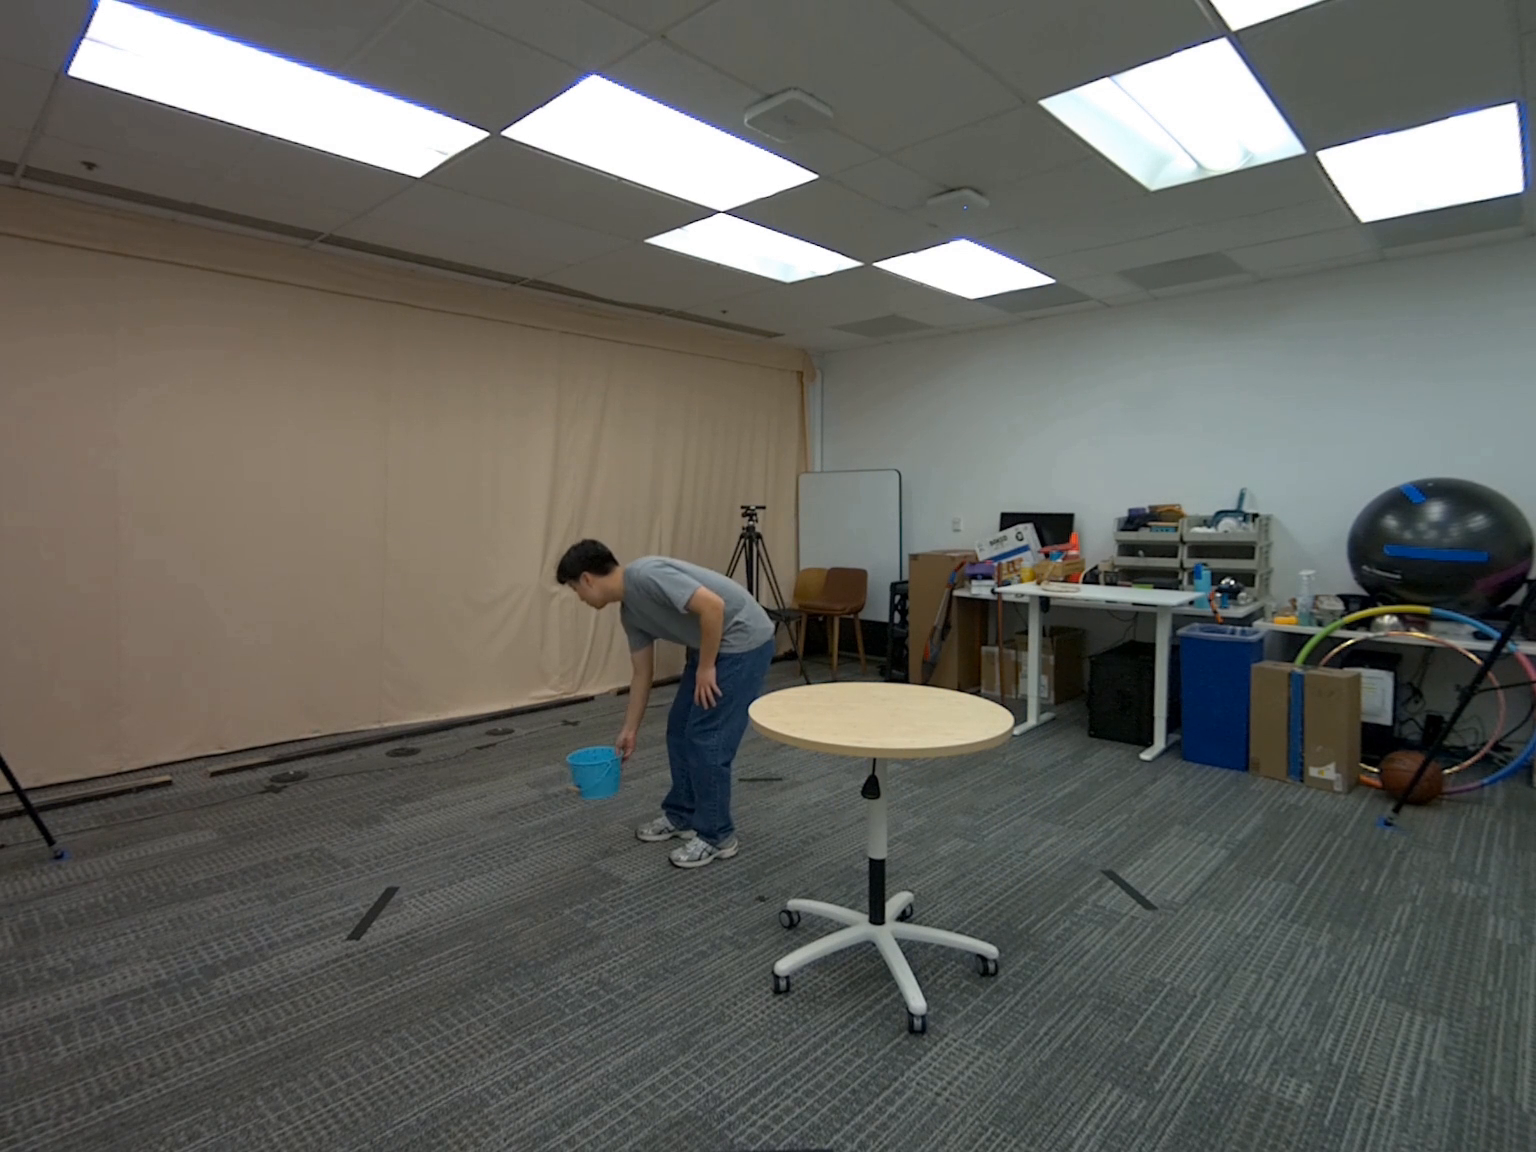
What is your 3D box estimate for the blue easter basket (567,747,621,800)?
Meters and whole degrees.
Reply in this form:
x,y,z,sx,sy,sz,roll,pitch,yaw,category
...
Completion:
x,y,z,sx,sy,sz,roll,pitch,yaw,category
-0.706,0.810,3.478,0.243,0.155,0.244,-3,5,-2,blue easter basket
